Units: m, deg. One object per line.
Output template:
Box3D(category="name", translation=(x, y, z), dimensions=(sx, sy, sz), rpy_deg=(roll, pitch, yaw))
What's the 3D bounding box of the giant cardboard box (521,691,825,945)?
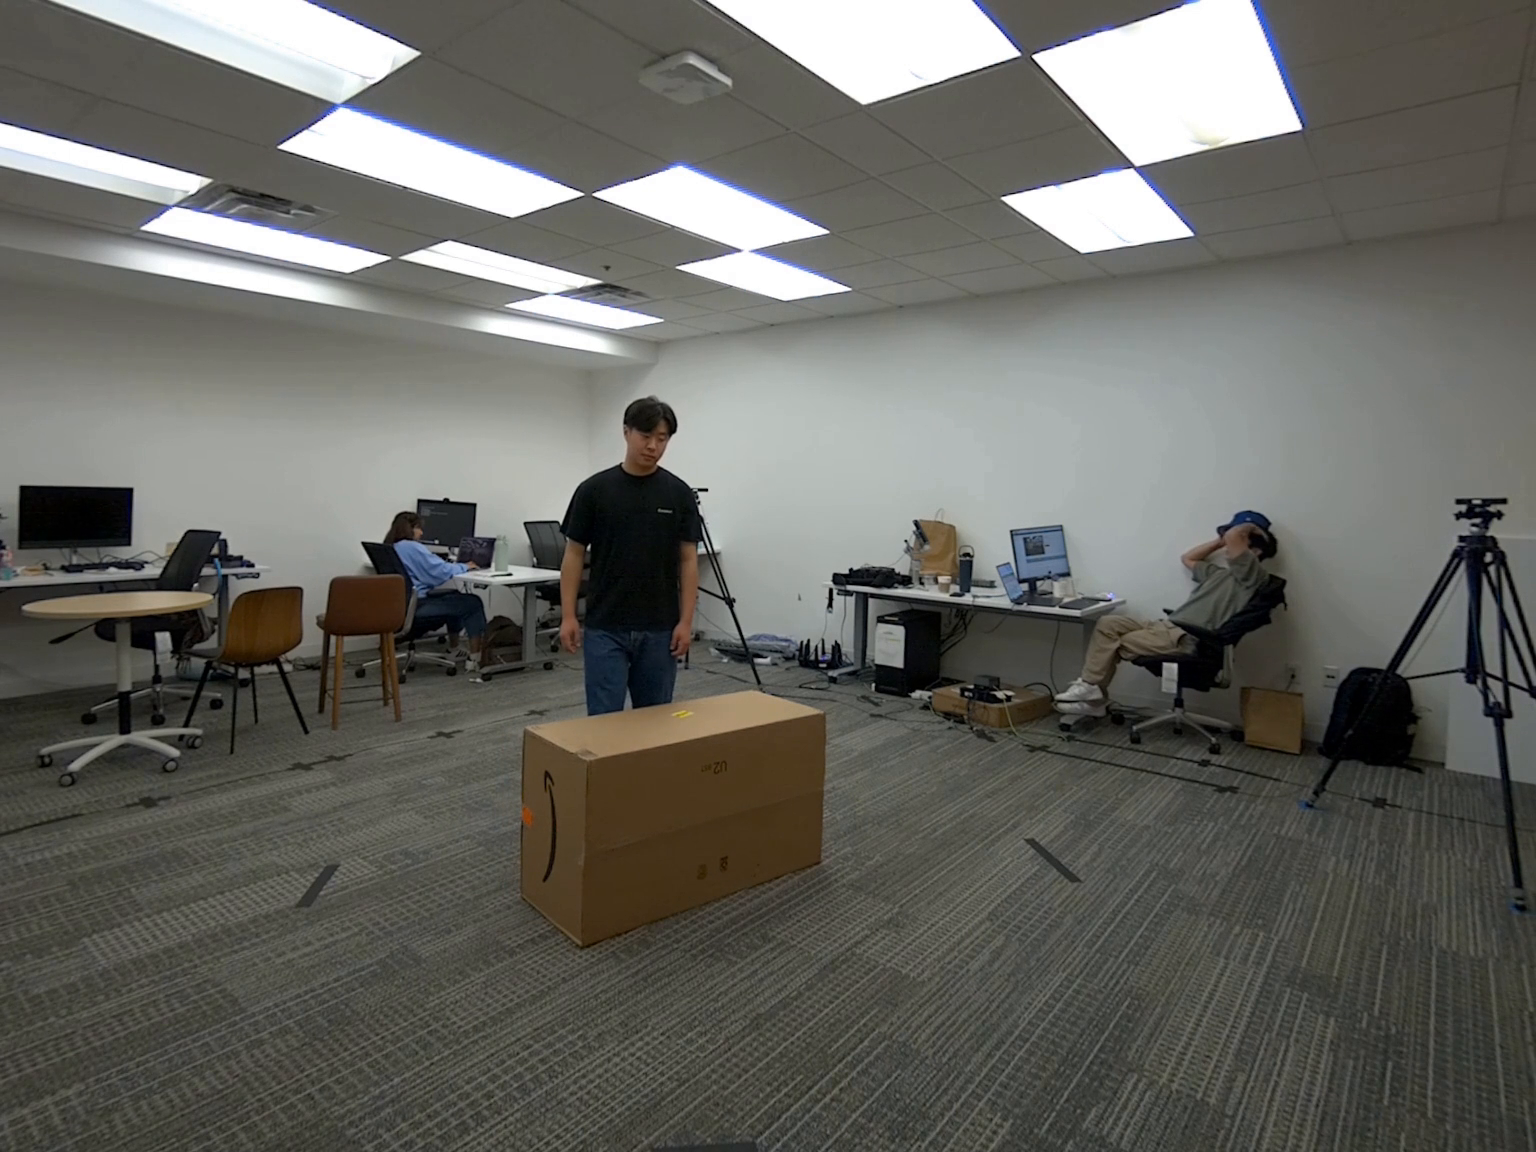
Box3D(category="giant cardboard box", translation=(-0.321, 0.791, 3.015), dimensions=(0.996, 0.583, 0.461), rpy_deg=(-2, 4, -40))
